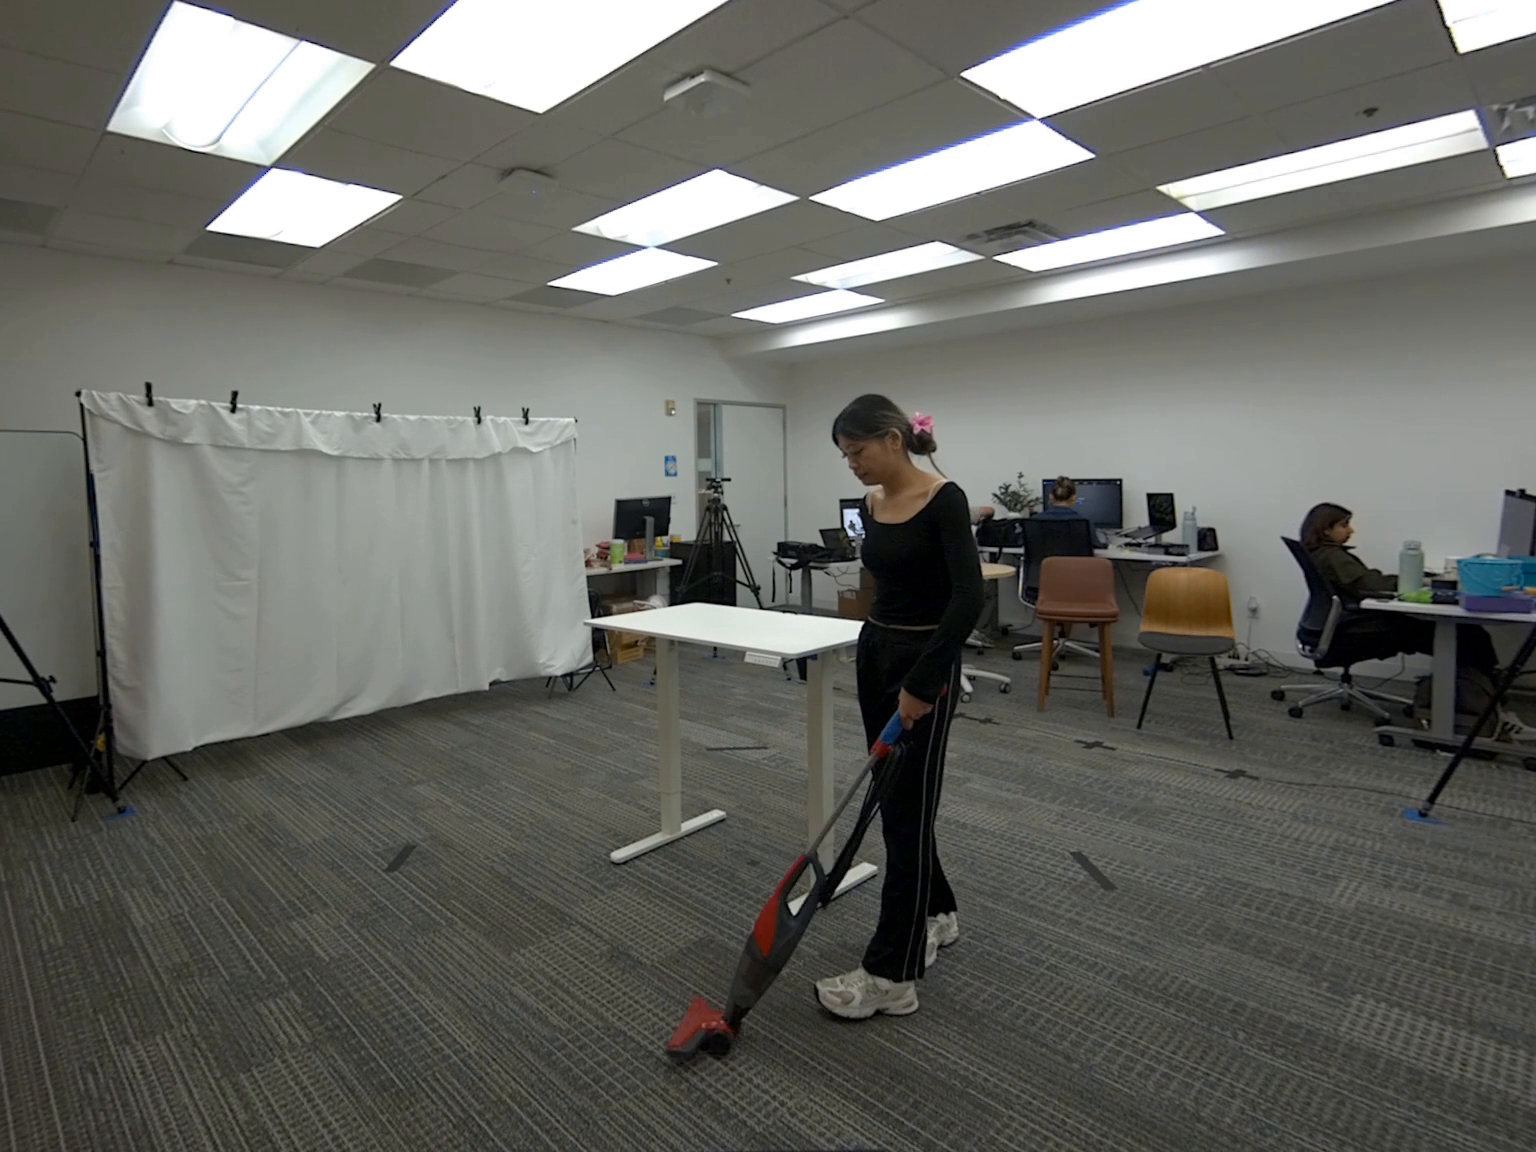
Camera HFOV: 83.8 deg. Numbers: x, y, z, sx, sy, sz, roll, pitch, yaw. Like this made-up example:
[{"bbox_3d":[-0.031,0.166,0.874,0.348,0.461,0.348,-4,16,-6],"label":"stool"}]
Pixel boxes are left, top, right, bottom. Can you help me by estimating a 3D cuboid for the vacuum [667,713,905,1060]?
[{"bbox_3d":[0.136,0.715,2.082,0.146,1.048,0.249,34,6,9],"label":"vacuum"}]
